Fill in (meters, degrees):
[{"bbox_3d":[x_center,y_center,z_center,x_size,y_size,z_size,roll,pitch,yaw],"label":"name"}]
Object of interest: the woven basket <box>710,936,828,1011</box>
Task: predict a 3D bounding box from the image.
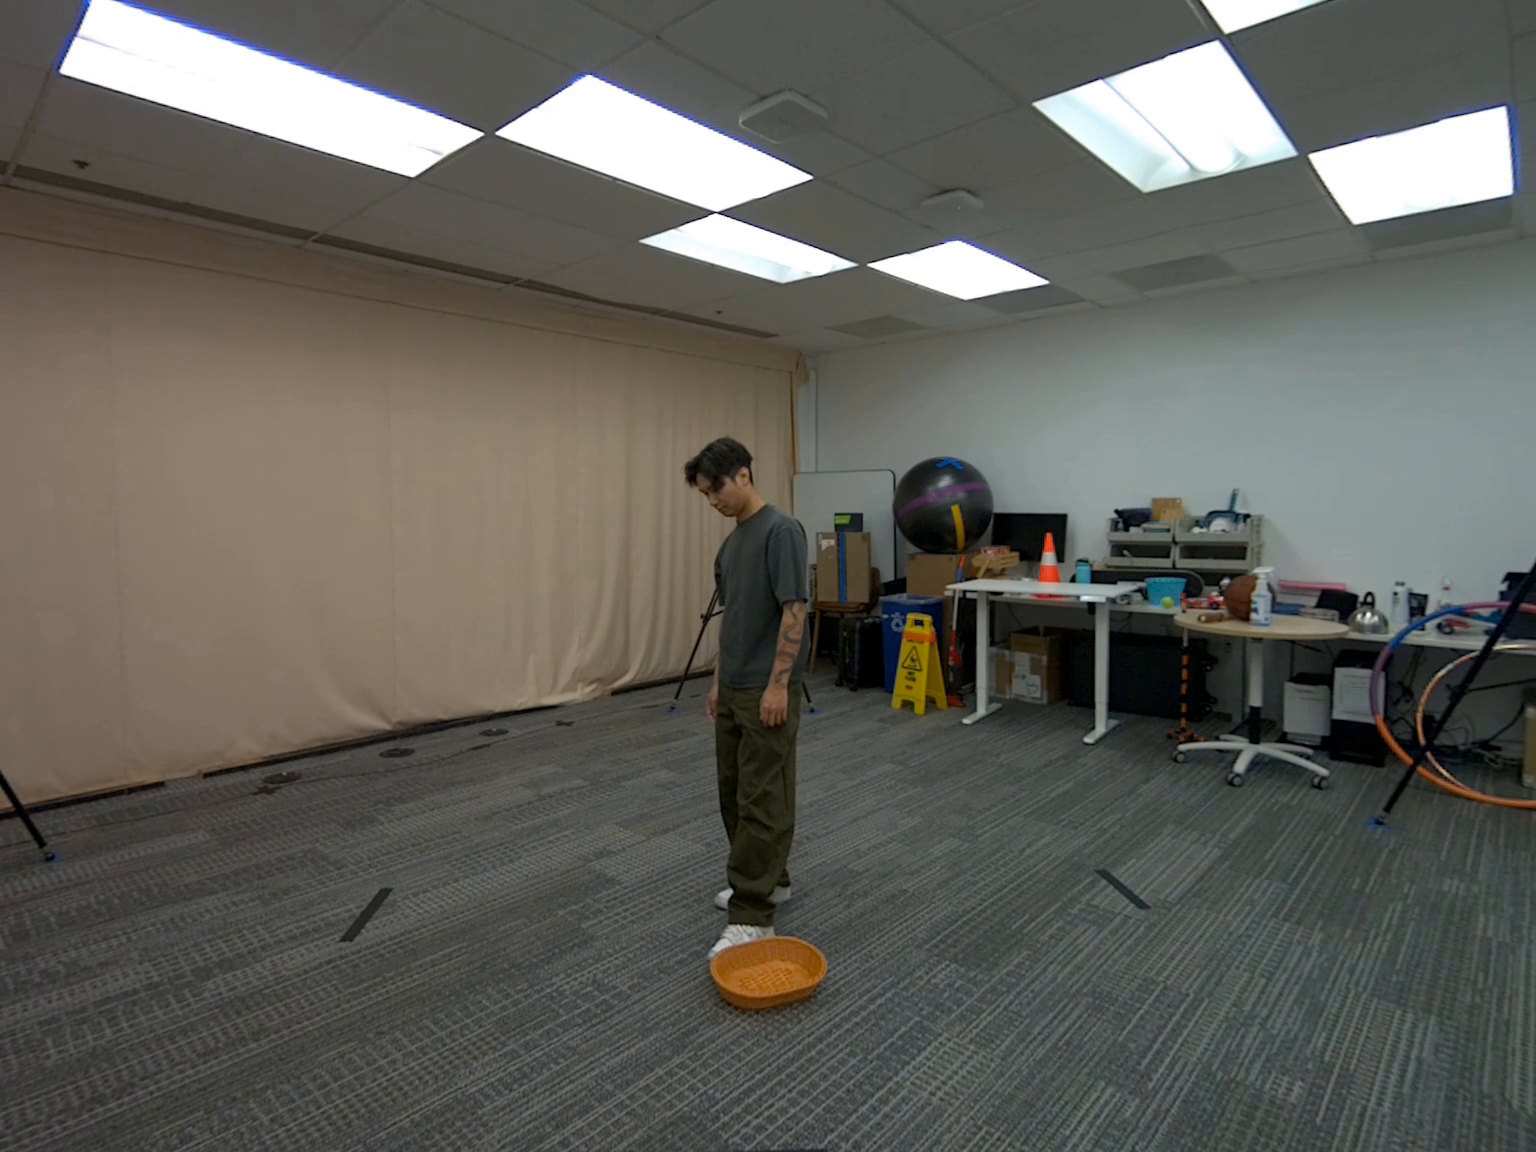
[{"bbox_3d":[0.006,1.144,2.425,0.342,0.073,0.260,-1,9,-26],"label":"woven basket"}]
